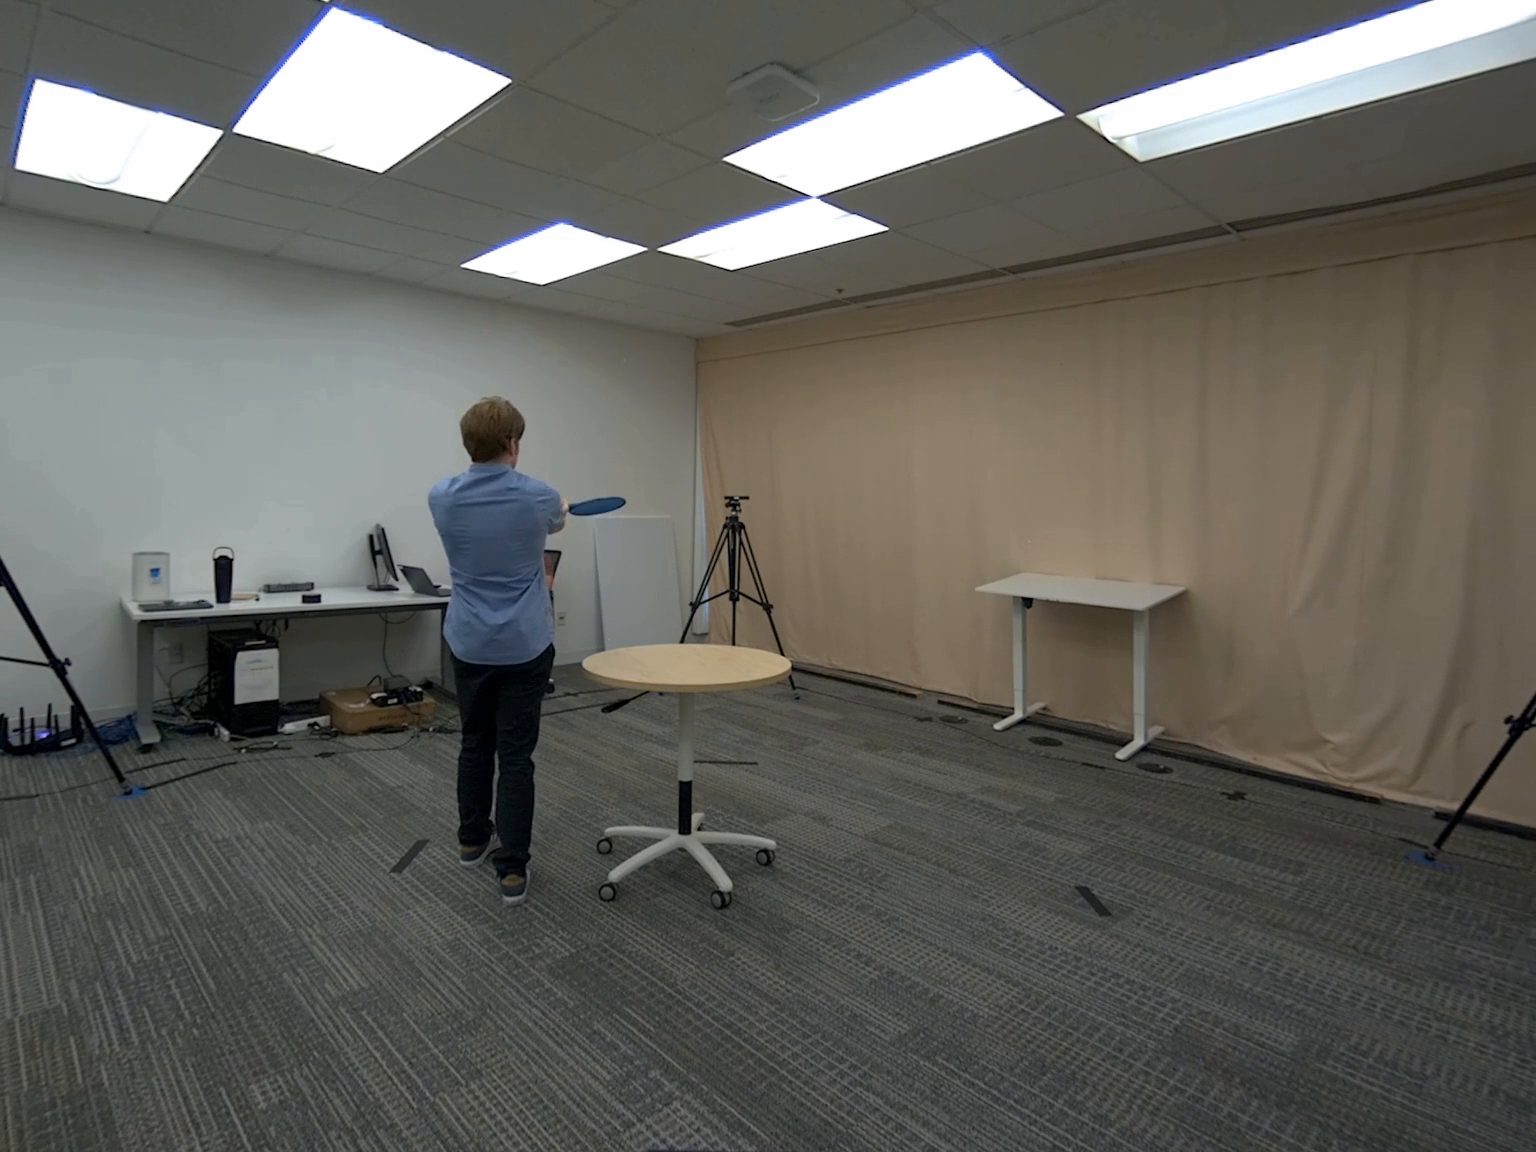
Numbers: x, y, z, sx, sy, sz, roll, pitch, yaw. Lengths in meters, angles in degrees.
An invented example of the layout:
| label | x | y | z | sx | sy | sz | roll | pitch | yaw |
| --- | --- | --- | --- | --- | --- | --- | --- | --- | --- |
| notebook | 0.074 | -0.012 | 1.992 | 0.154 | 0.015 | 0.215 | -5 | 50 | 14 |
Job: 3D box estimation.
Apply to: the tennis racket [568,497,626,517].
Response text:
| label | x | y | z | sx | sy | sz | roll | pitch | yaw |
| --- | --- | --- | --- | --- | --- | --- | --- | --- | --- |
| tennis racket | -0.802 | -0.292 | 3.598 | 0.424 | 0.032 | 0.216 | -8 | -13 | -46 |
